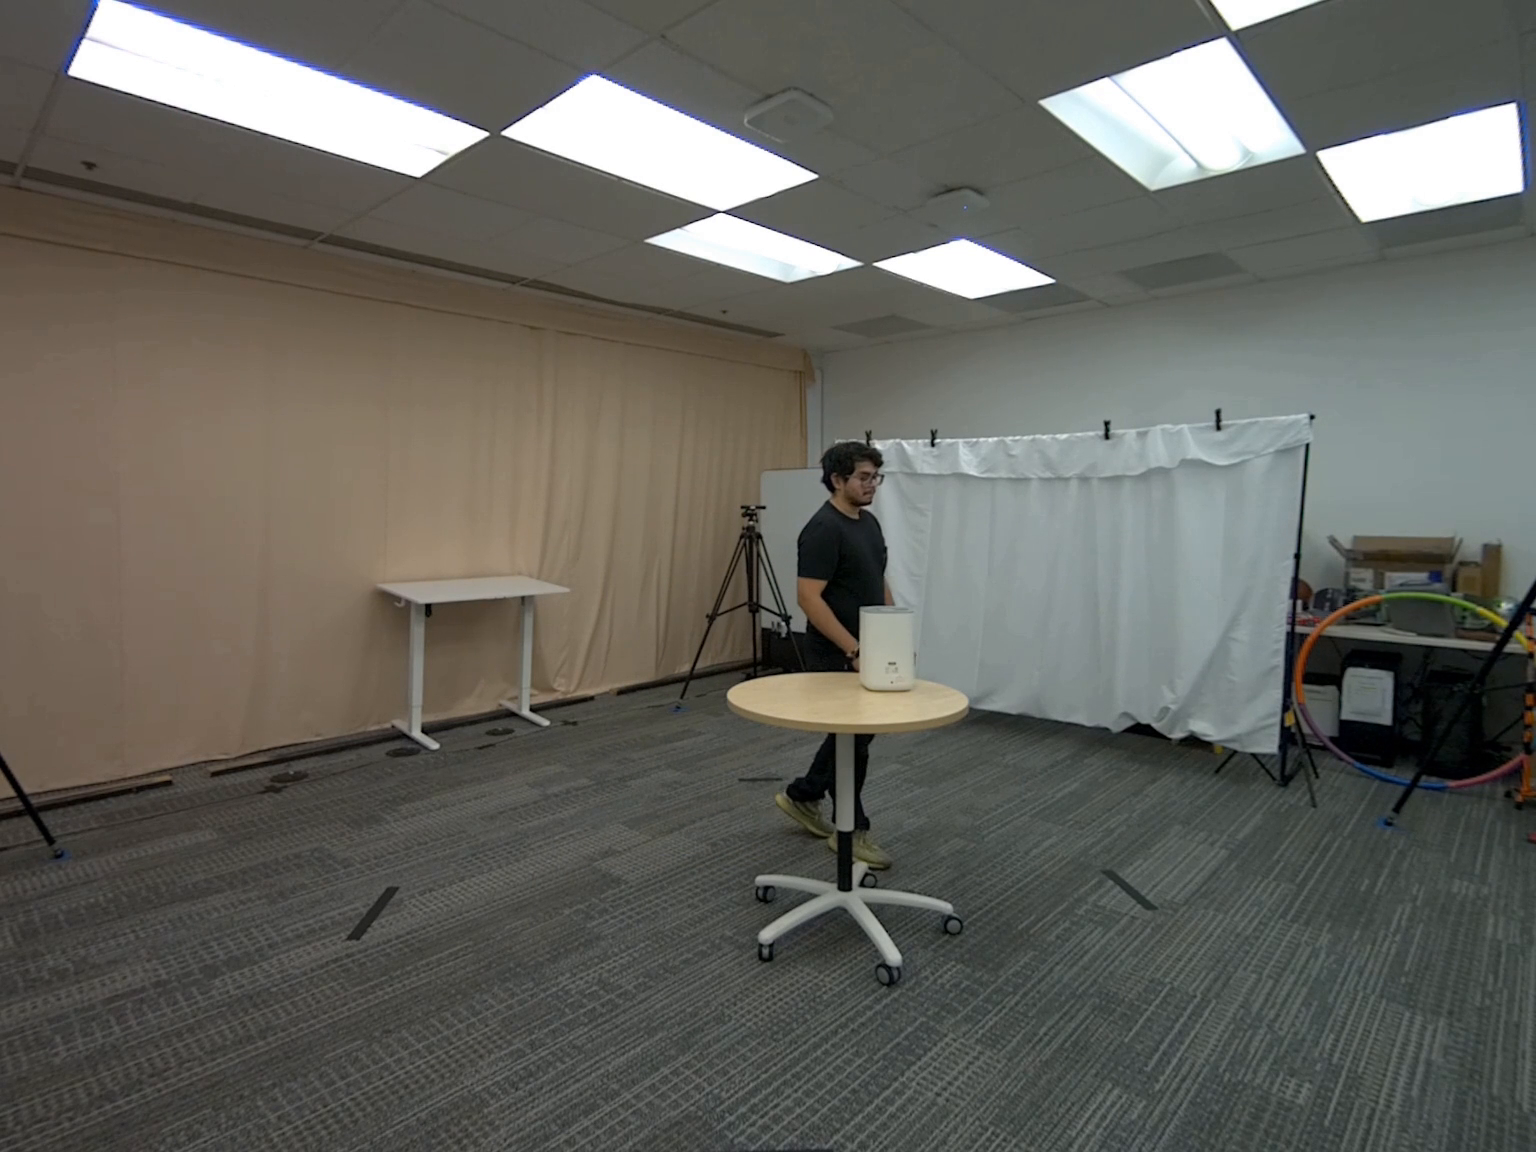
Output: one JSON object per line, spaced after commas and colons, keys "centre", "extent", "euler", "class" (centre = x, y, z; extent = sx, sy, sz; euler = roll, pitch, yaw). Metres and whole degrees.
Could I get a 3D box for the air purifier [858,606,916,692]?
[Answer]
{"centre": [0.398, 0.238, 2.824], "extent": [0.171, 0.265, 0.172], "euler": [-4, 2, -1], "class": "air purifier"}
